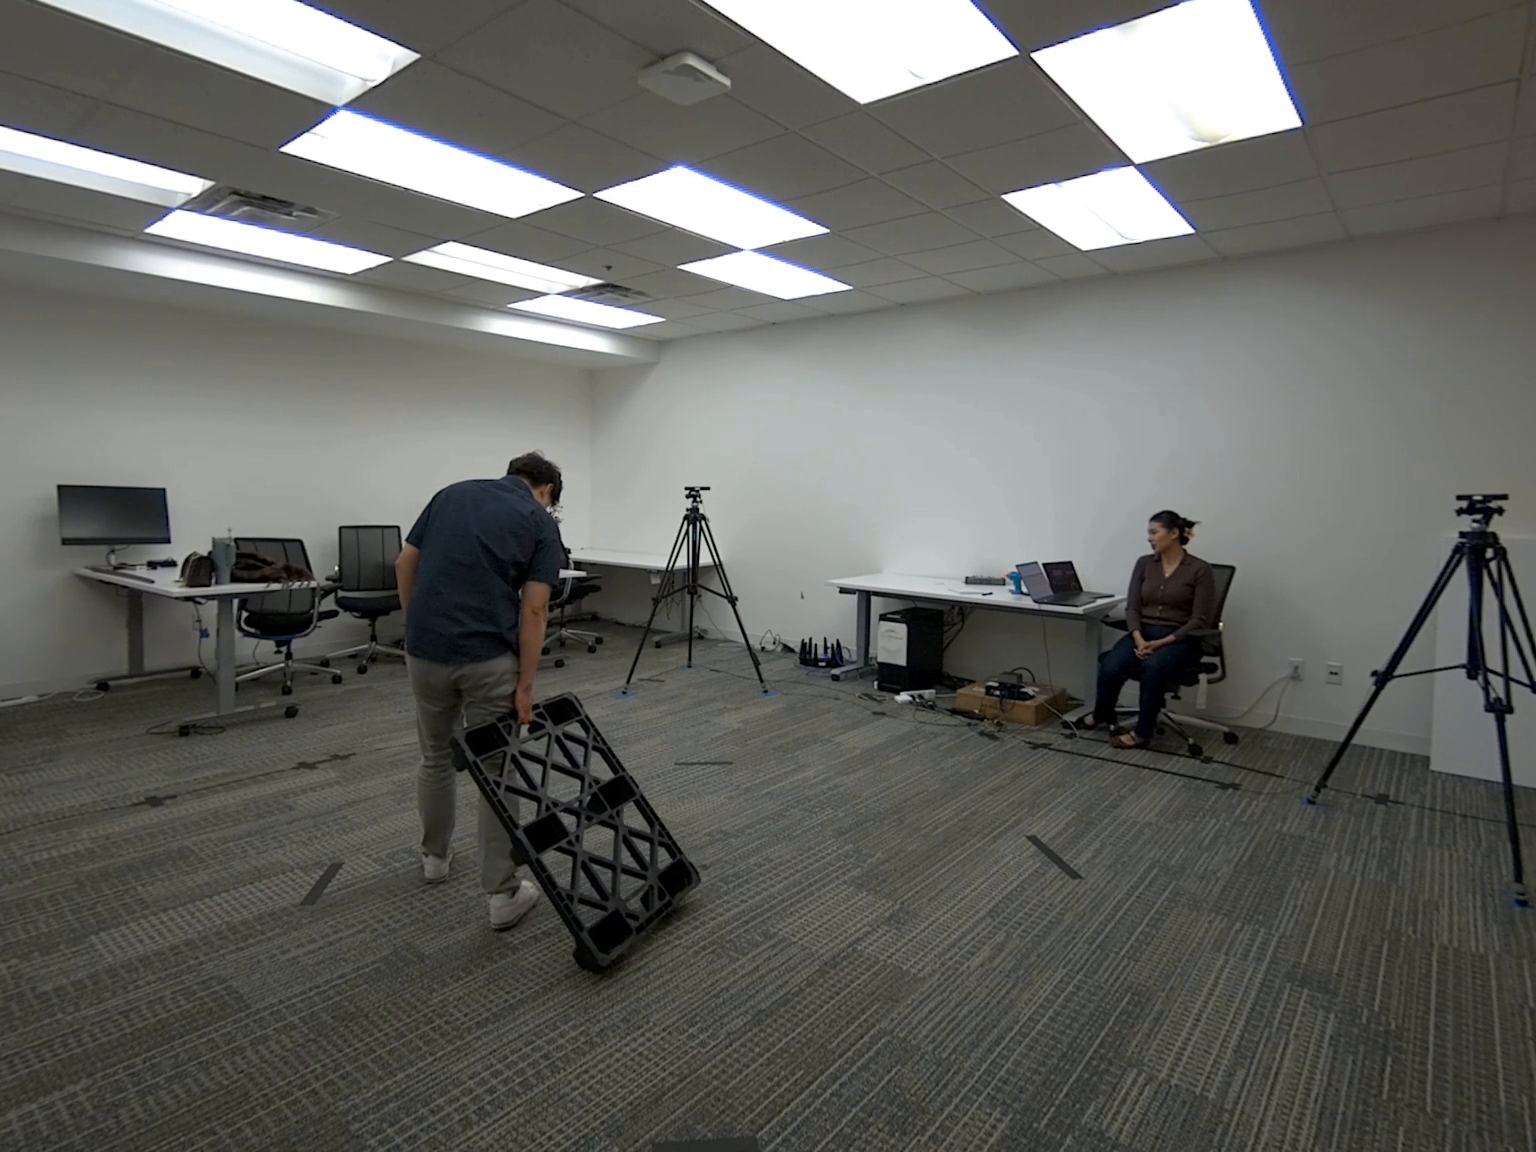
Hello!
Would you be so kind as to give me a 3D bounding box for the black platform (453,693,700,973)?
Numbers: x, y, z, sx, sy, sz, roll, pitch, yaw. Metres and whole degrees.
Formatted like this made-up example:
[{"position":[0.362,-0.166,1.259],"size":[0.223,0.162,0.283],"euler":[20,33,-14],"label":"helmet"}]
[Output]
[{"position":[-0.635,0.786,2.722],"size":[0.143,0.823,0.592],"euler":[-45,-15,22],"label":"black platform"}]
